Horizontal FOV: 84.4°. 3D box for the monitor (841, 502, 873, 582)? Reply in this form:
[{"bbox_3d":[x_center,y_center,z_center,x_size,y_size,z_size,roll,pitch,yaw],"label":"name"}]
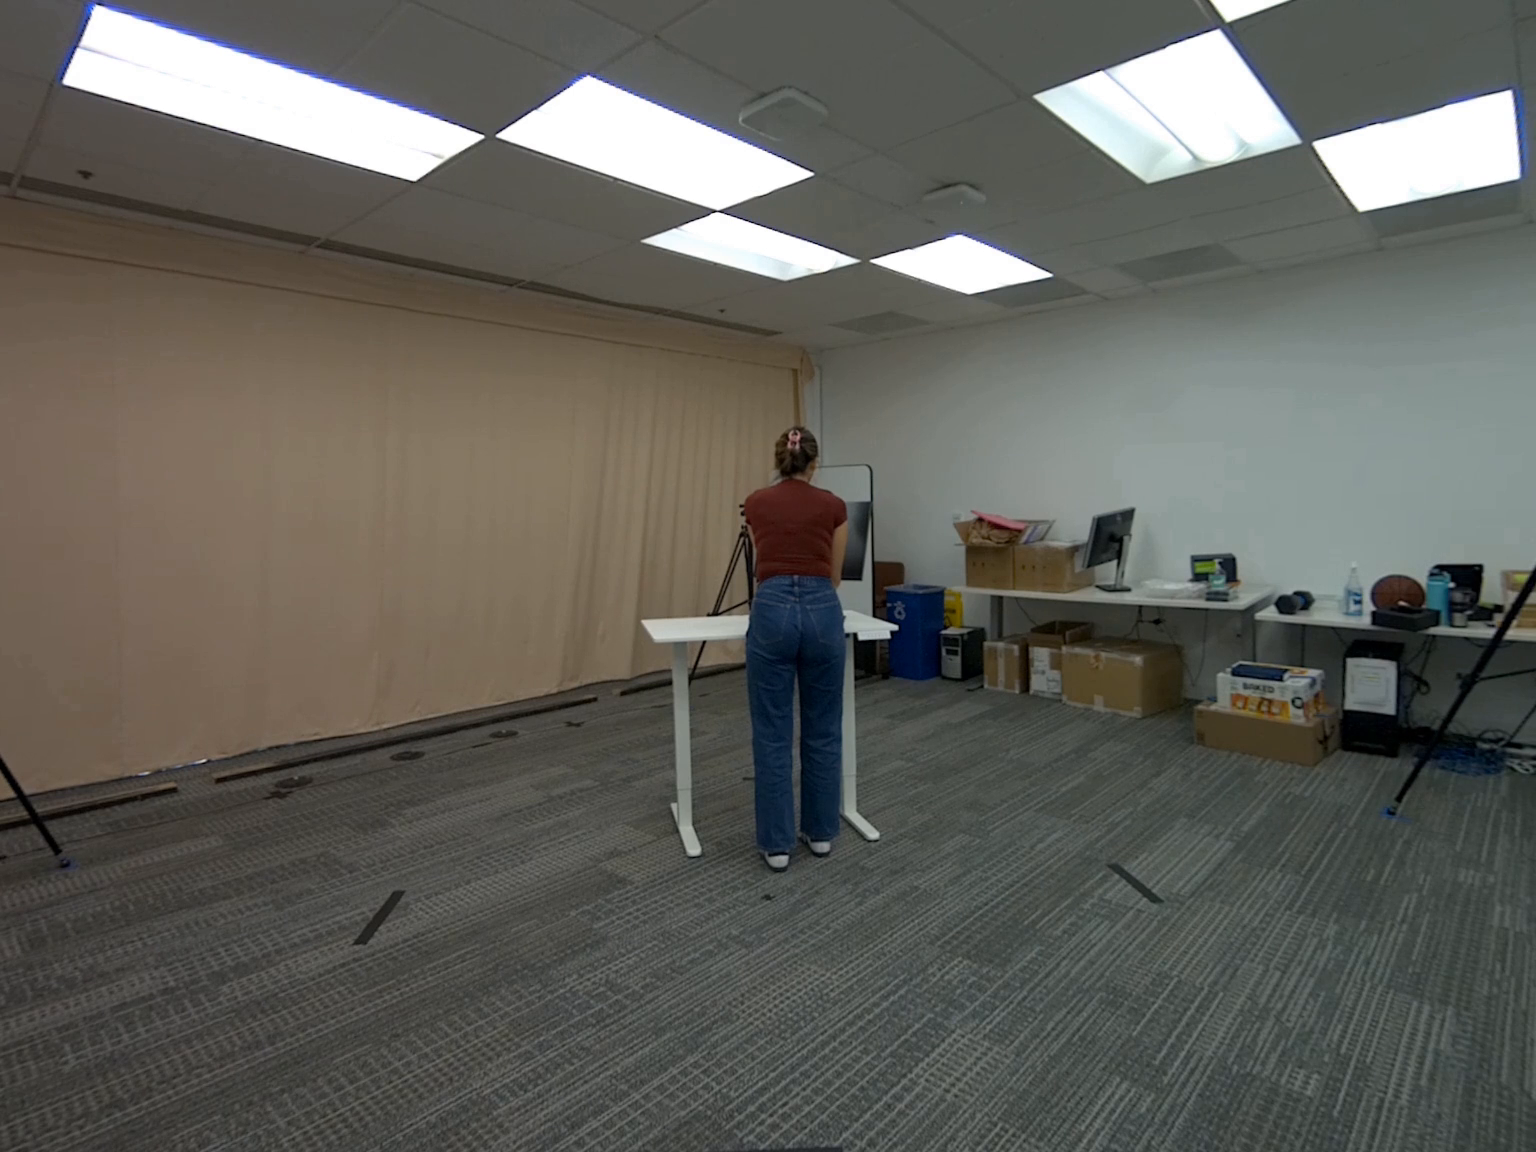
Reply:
[{"bbox_3d":[0.213,-0.068,3.752,0.555,0.522,0.182,1,0,32],"label":"monitor"}]
